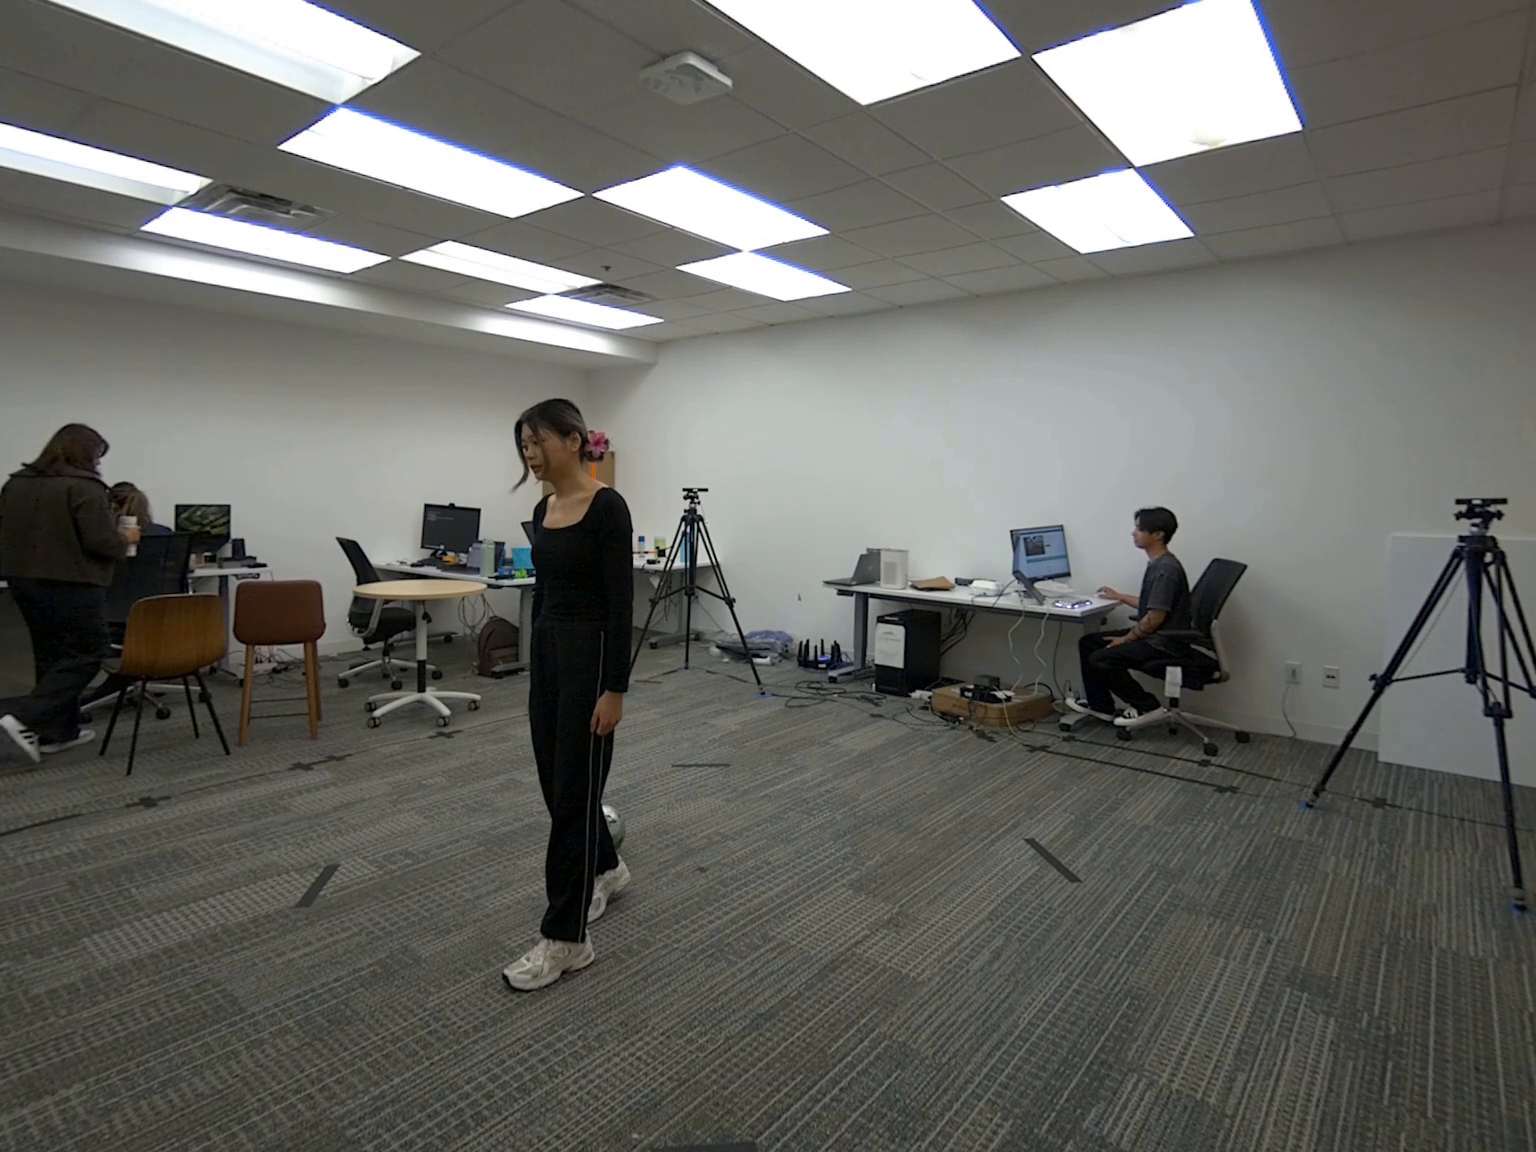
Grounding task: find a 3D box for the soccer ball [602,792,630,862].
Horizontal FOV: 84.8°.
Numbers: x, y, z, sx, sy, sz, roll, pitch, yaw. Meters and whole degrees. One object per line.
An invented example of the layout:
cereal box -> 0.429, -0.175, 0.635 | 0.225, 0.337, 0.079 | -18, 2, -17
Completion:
soccer ball -> -0.636, 0.952, 3.210 | 0.187, 0.187, 0.188 | 1, 4, -2
